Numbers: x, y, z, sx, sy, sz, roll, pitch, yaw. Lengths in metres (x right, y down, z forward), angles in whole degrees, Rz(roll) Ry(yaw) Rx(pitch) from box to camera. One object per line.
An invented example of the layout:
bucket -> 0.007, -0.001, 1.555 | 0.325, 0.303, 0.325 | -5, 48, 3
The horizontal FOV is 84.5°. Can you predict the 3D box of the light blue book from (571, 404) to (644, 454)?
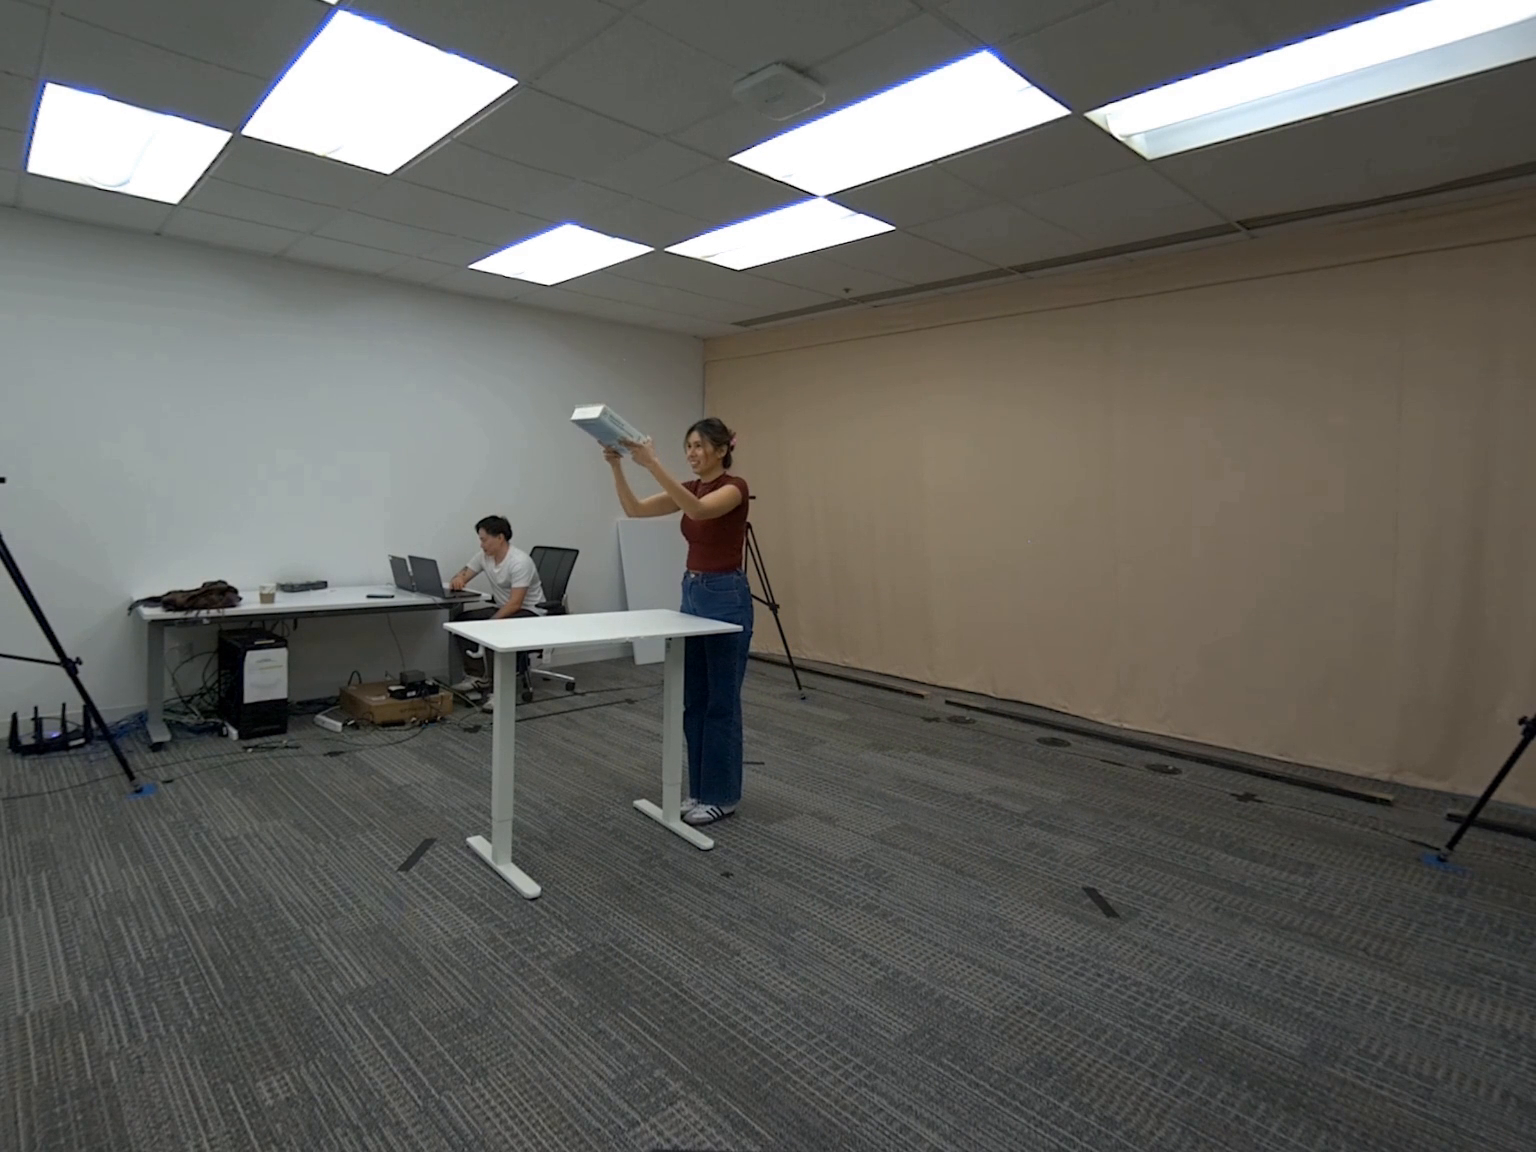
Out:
light blue book -> -0.621, -0.566, 3.267 | 0.196, 0.059, 0.253 | 7, -20, 43
